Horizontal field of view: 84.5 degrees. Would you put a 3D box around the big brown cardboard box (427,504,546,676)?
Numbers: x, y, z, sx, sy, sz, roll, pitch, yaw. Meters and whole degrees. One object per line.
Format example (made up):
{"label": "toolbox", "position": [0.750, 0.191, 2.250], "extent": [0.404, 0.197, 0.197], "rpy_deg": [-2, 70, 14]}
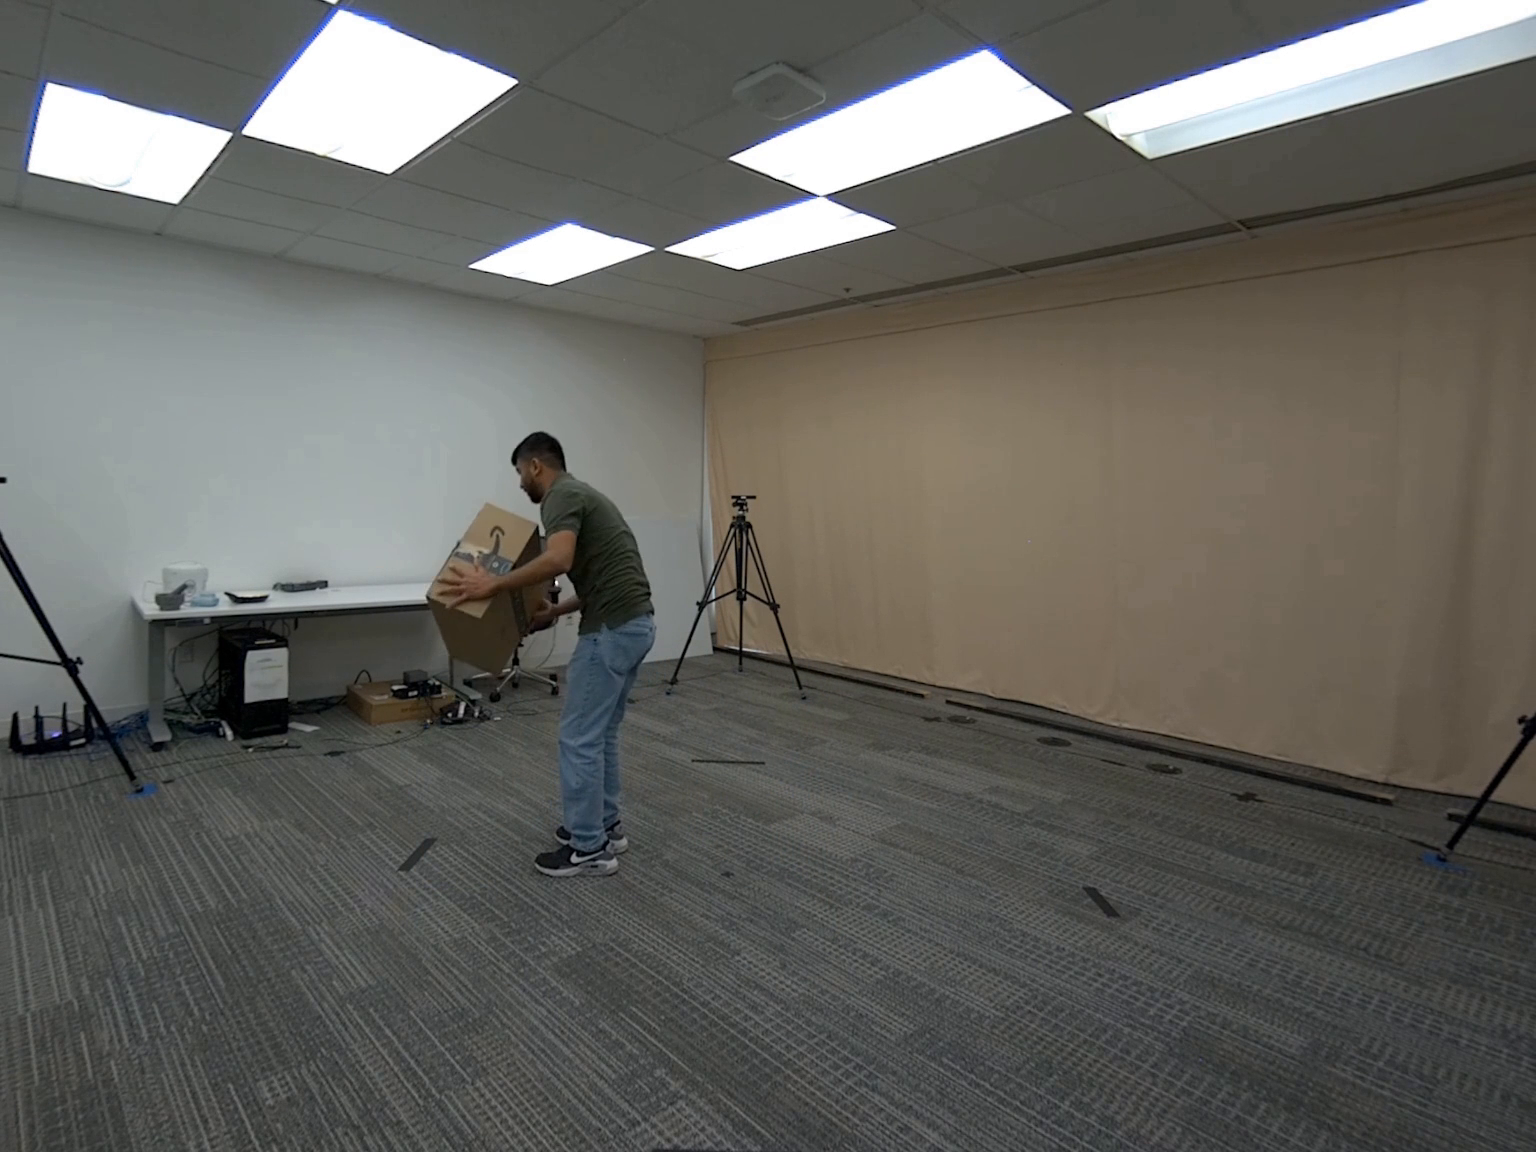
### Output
{"label": "big brown cardboard box", "position": [-1.057, 0.078, 3.198], "extent": [0.233, 0.421, 0.582], "rpy_deg": [23, -30, 0]}
